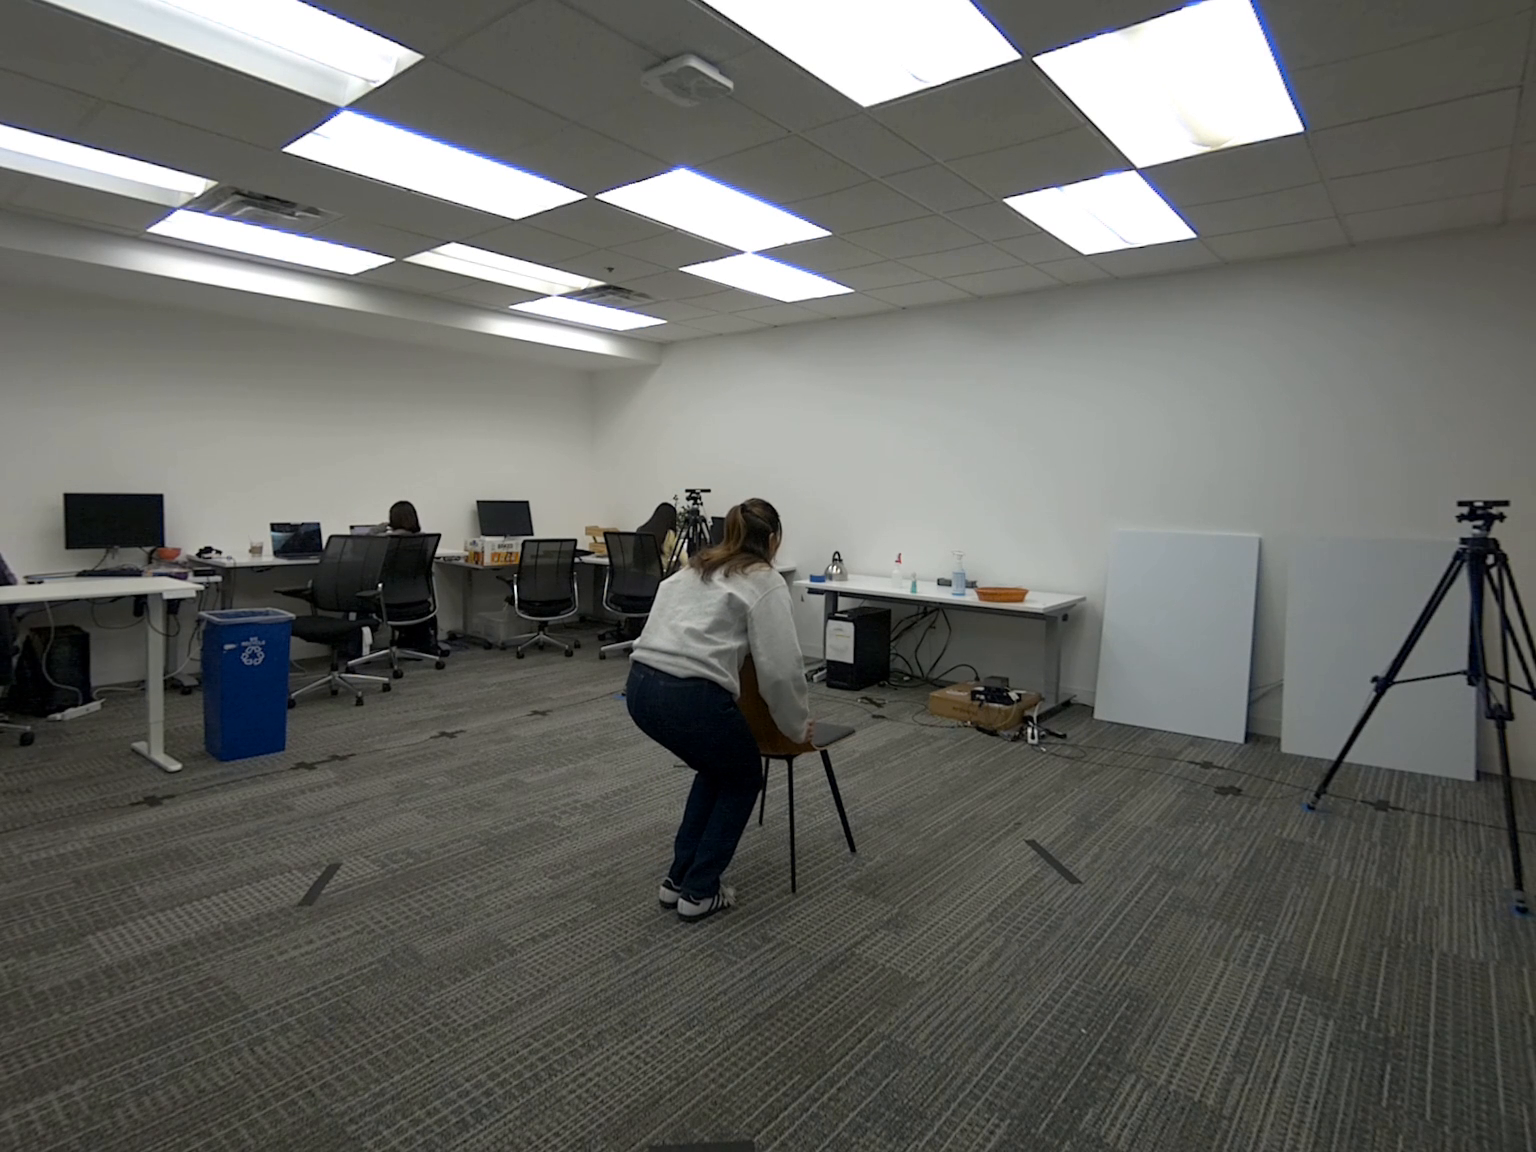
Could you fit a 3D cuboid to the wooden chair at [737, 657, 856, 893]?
[{"bbox_3d":[0.033,0.636,3.238,0.493,0.872,0.510,3,8,35],"label":"wooden chair"}]
